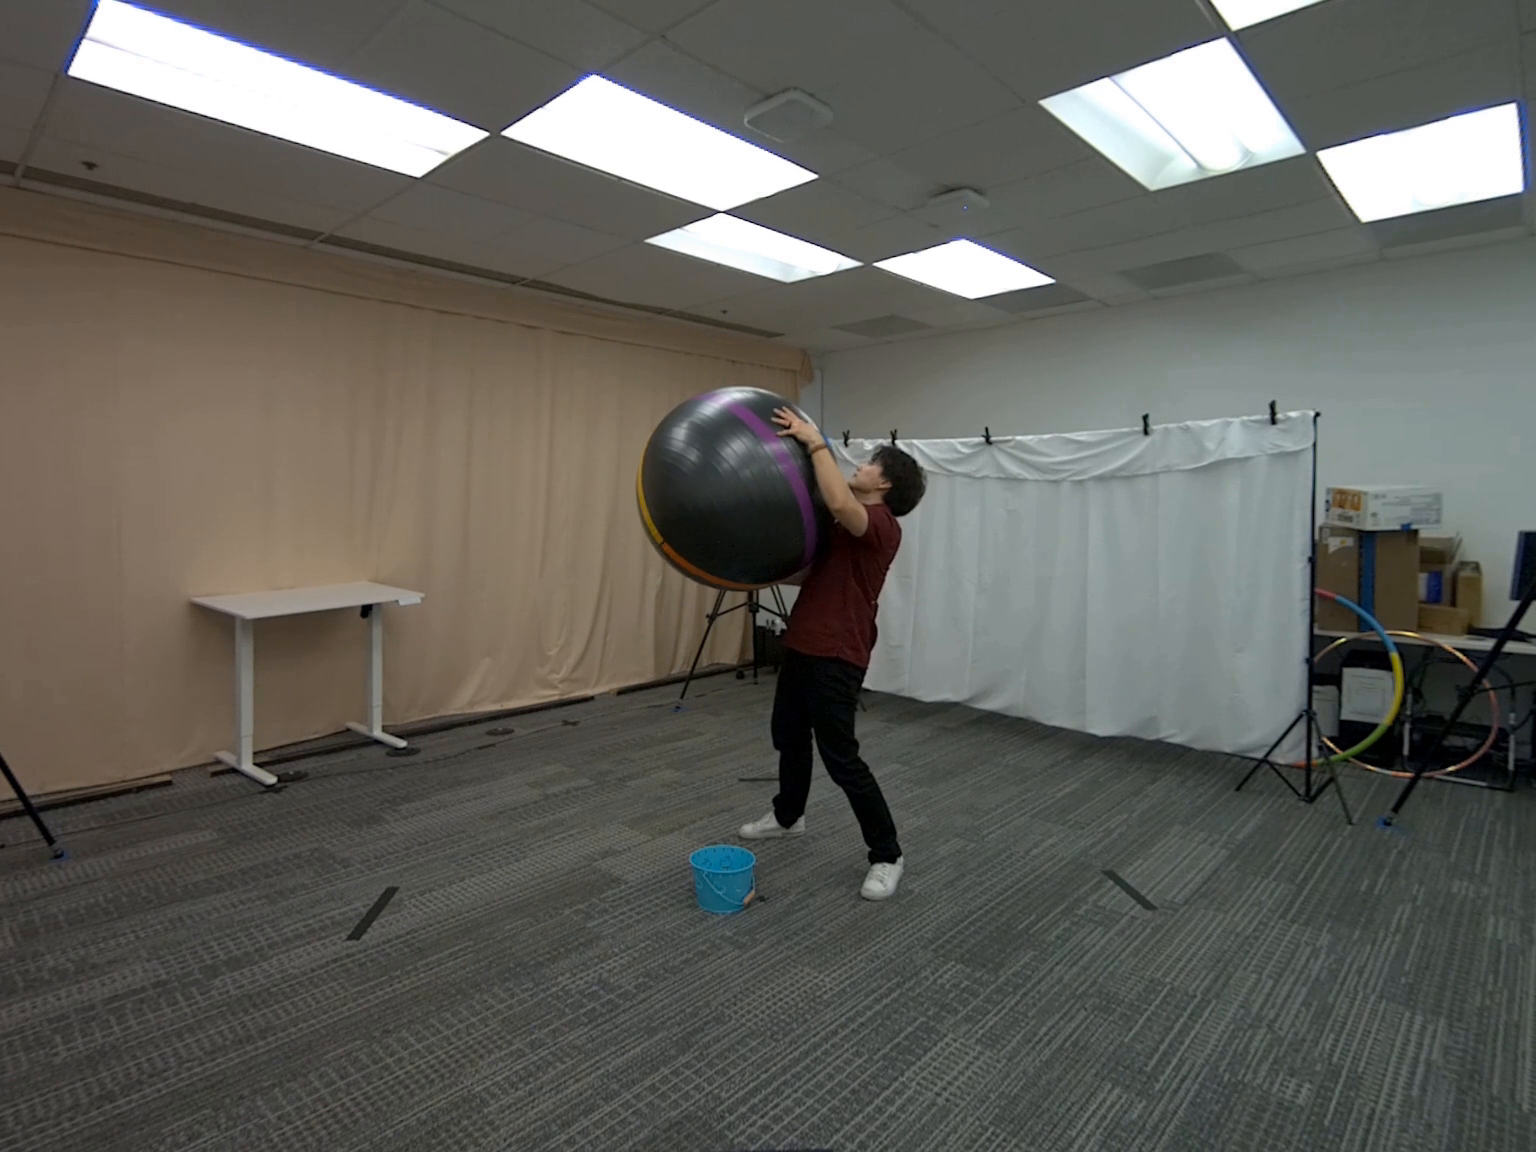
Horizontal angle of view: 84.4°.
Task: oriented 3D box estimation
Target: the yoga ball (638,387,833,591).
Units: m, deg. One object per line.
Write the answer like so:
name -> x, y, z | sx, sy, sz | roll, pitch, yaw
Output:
yoga ball -> -0.108, -0.322, 3.143 | 0.757, 0.756, 0.760 | 0, 4, -2
